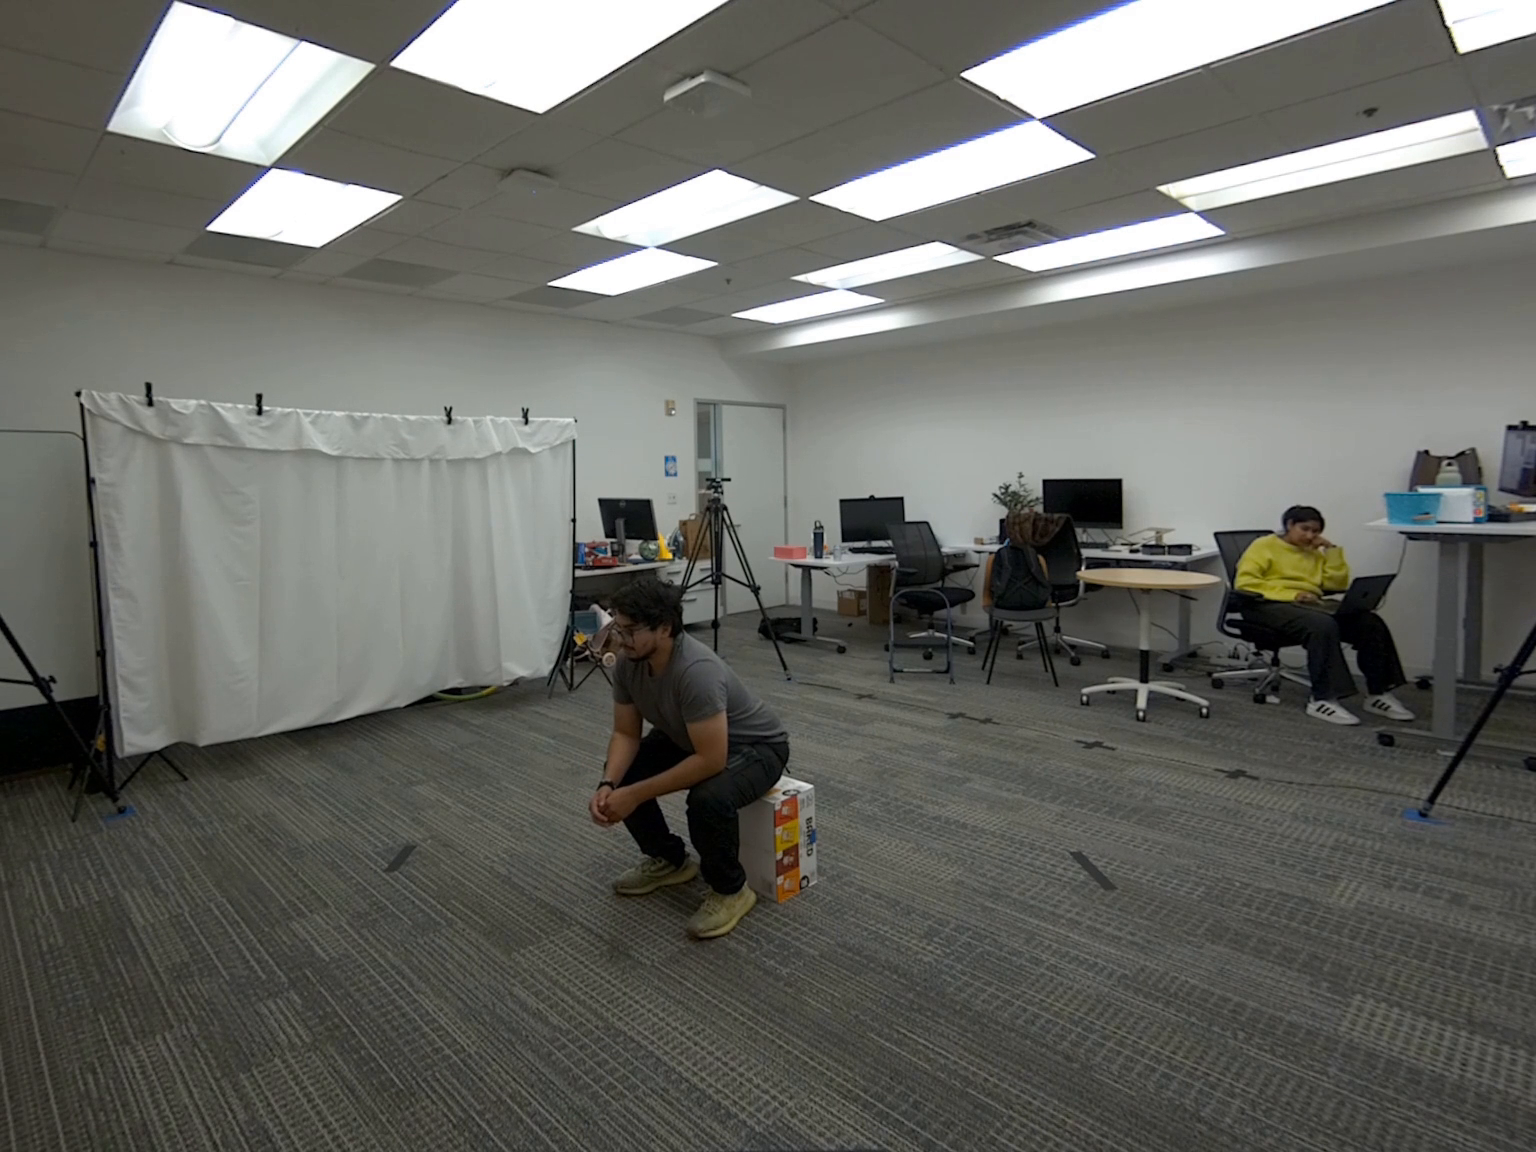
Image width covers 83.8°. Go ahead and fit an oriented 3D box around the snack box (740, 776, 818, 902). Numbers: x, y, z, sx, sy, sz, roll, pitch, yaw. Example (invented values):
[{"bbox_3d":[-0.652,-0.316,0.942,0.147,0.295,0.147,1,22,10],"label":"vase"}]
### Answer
[{"bbox_3d":[-0.043,0.885,3.017,0.200,0.339,0.417,-6,7,-44],"label":"snack box"}]
